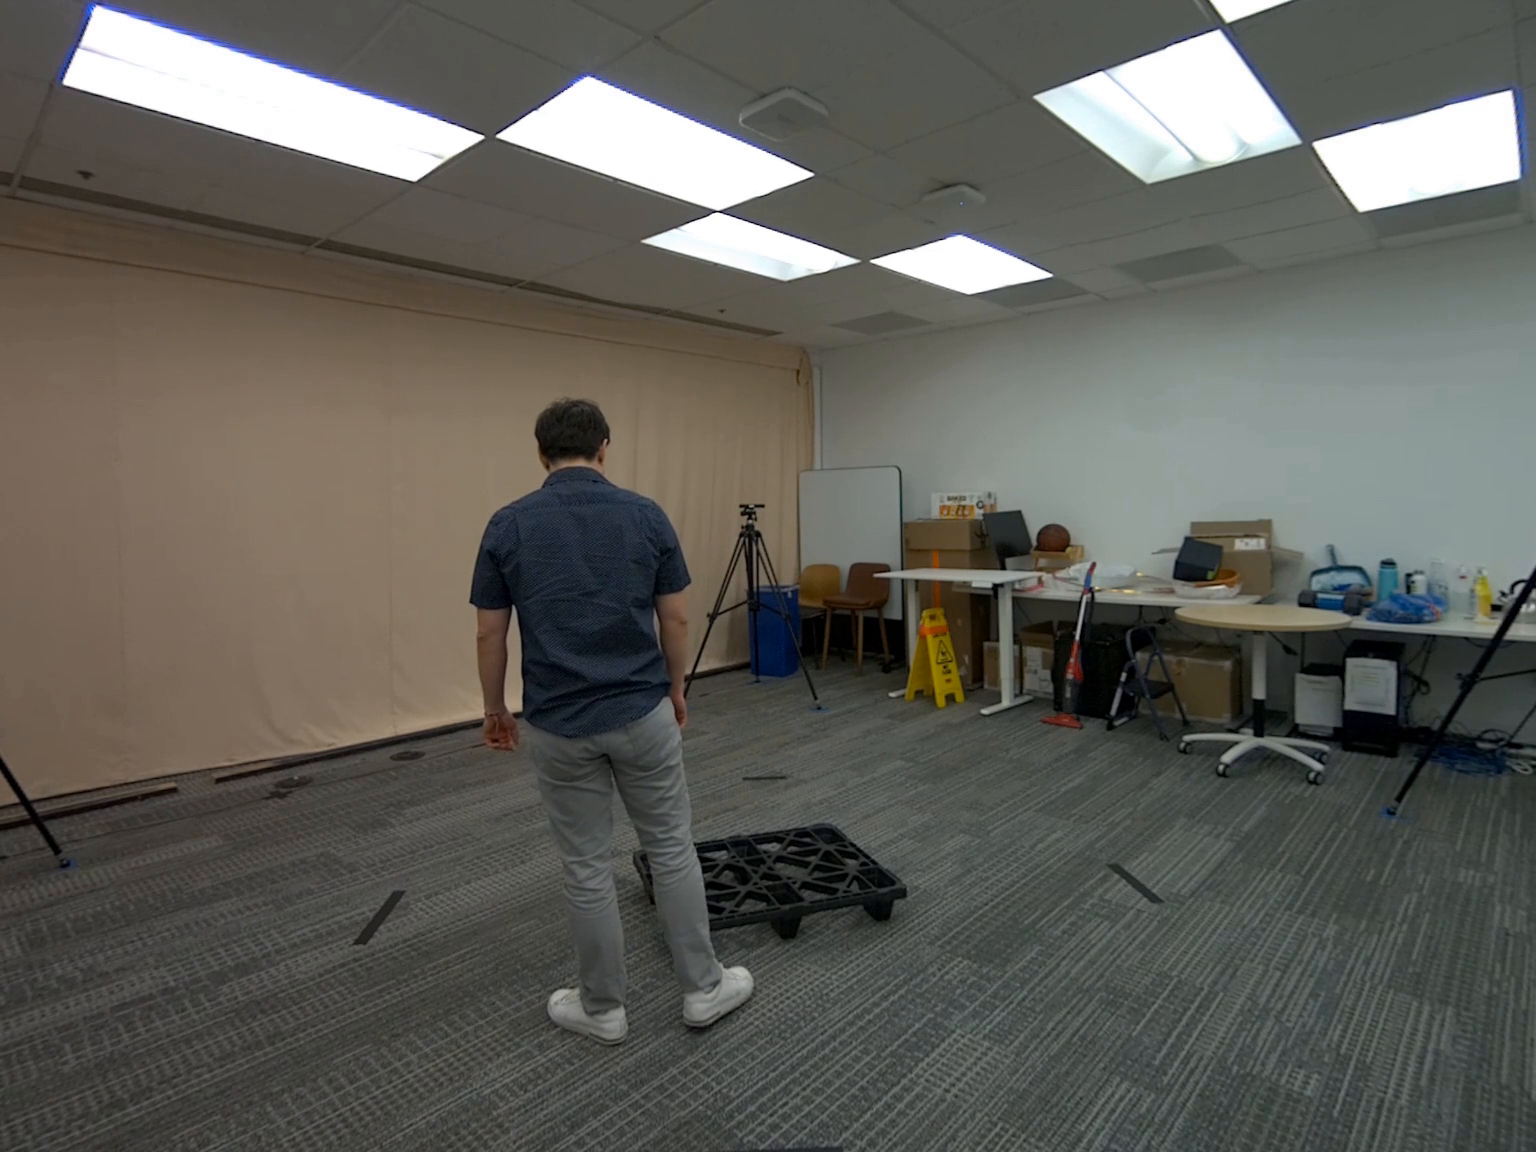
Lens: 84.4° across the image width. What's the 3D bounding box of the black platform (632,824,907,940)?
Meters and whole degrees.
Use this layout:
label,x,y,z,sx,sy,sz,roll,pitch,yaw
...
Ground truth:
label,x,y,z,sx,sy,sz,roll,pitch,yaw
black platform,-0.017,1.077,2.920,0.790,0.143,0.618,-2,5,-19
